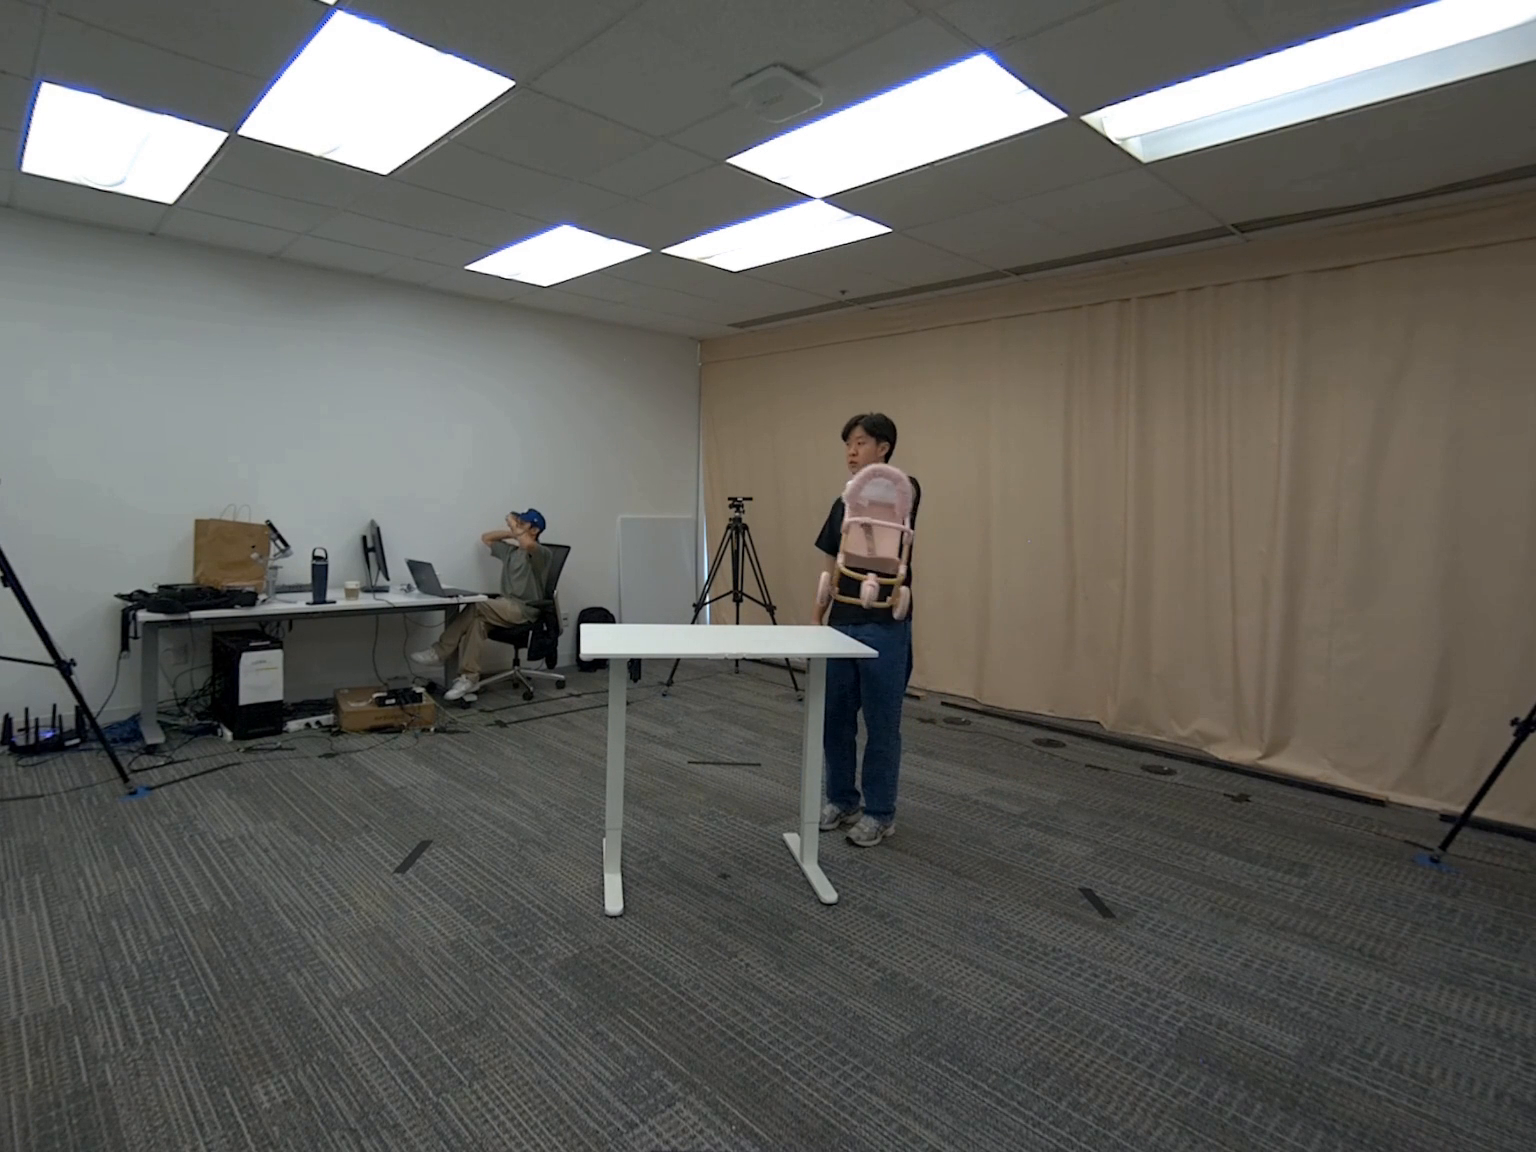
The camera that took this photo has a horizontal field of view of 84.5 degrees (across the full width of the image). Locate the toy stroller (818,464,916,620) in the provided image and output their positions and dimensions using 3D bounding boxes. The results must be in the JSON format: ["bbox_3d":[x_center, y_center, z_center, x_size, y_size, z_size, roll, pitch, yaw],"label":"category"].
[{"bbox_3d":[0.320,-0.113,2.627,0.283,0.541,0.335,9,-20,7],"label":"toy stroller"}]
